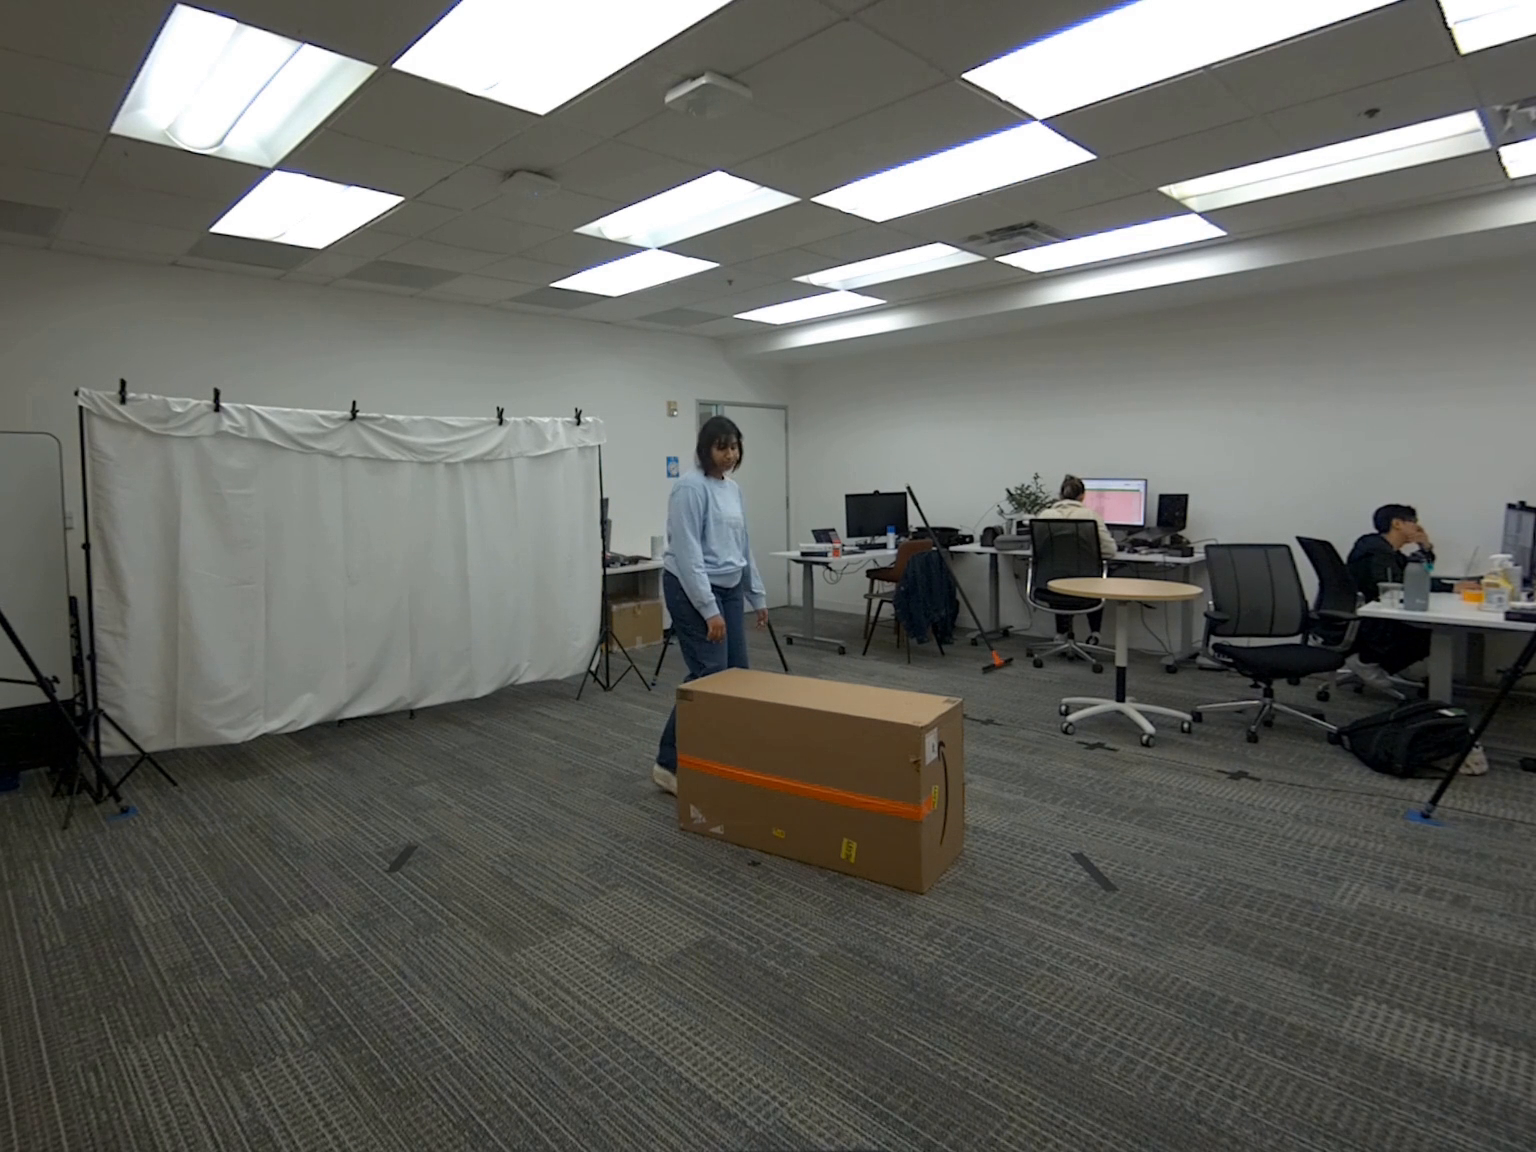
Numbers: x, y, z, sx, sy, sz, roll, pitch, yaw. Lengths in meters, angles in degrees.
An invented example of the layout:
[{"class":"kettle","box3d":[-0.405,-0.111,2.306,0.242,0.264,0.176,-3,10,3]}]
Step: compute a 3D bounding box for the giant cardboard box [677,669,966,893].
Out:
[{"class":"giant cardboard box","box3d":[0.189,0.735,3.281,1.056,0.582,0.436,3,5,34]}]
